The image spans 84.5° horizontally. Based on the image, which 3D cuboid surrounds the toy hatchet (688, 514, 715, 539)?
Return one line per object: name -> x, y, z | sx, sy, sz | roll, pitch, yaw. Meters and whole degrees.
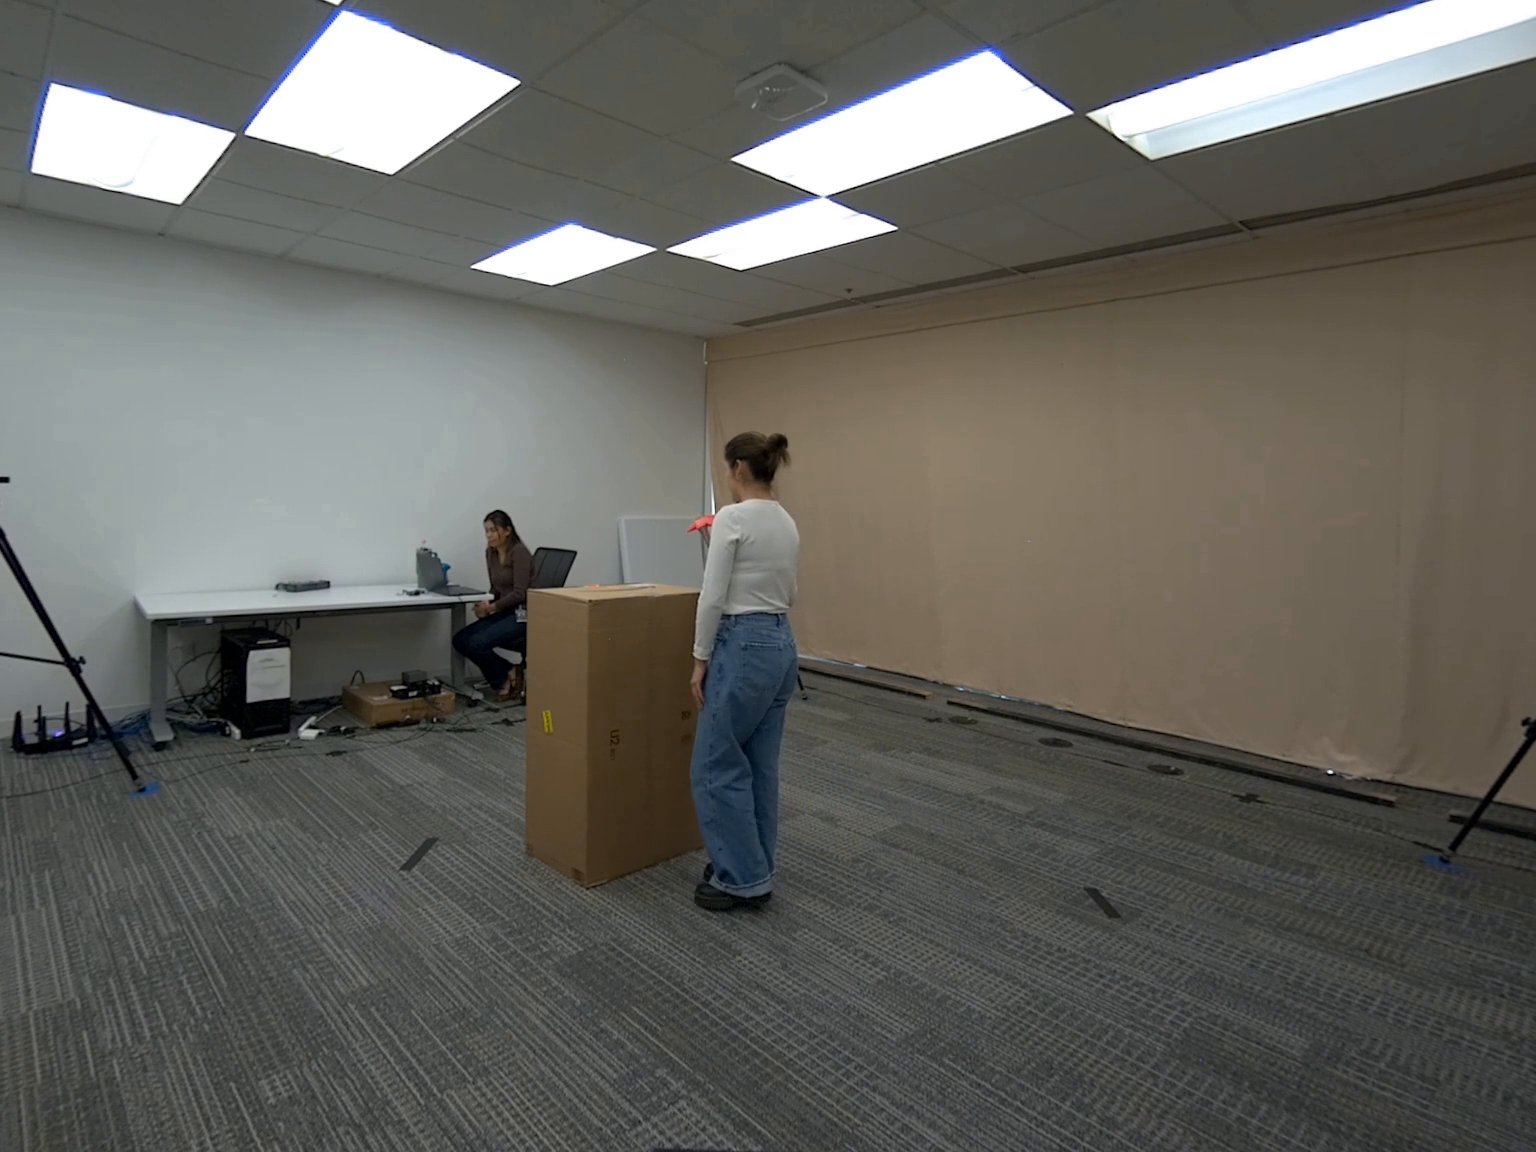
toy hatchet -> -0.211, -0.147, 3.314 | 0.278, 0.131, 0.029 | 42, -10, 34
